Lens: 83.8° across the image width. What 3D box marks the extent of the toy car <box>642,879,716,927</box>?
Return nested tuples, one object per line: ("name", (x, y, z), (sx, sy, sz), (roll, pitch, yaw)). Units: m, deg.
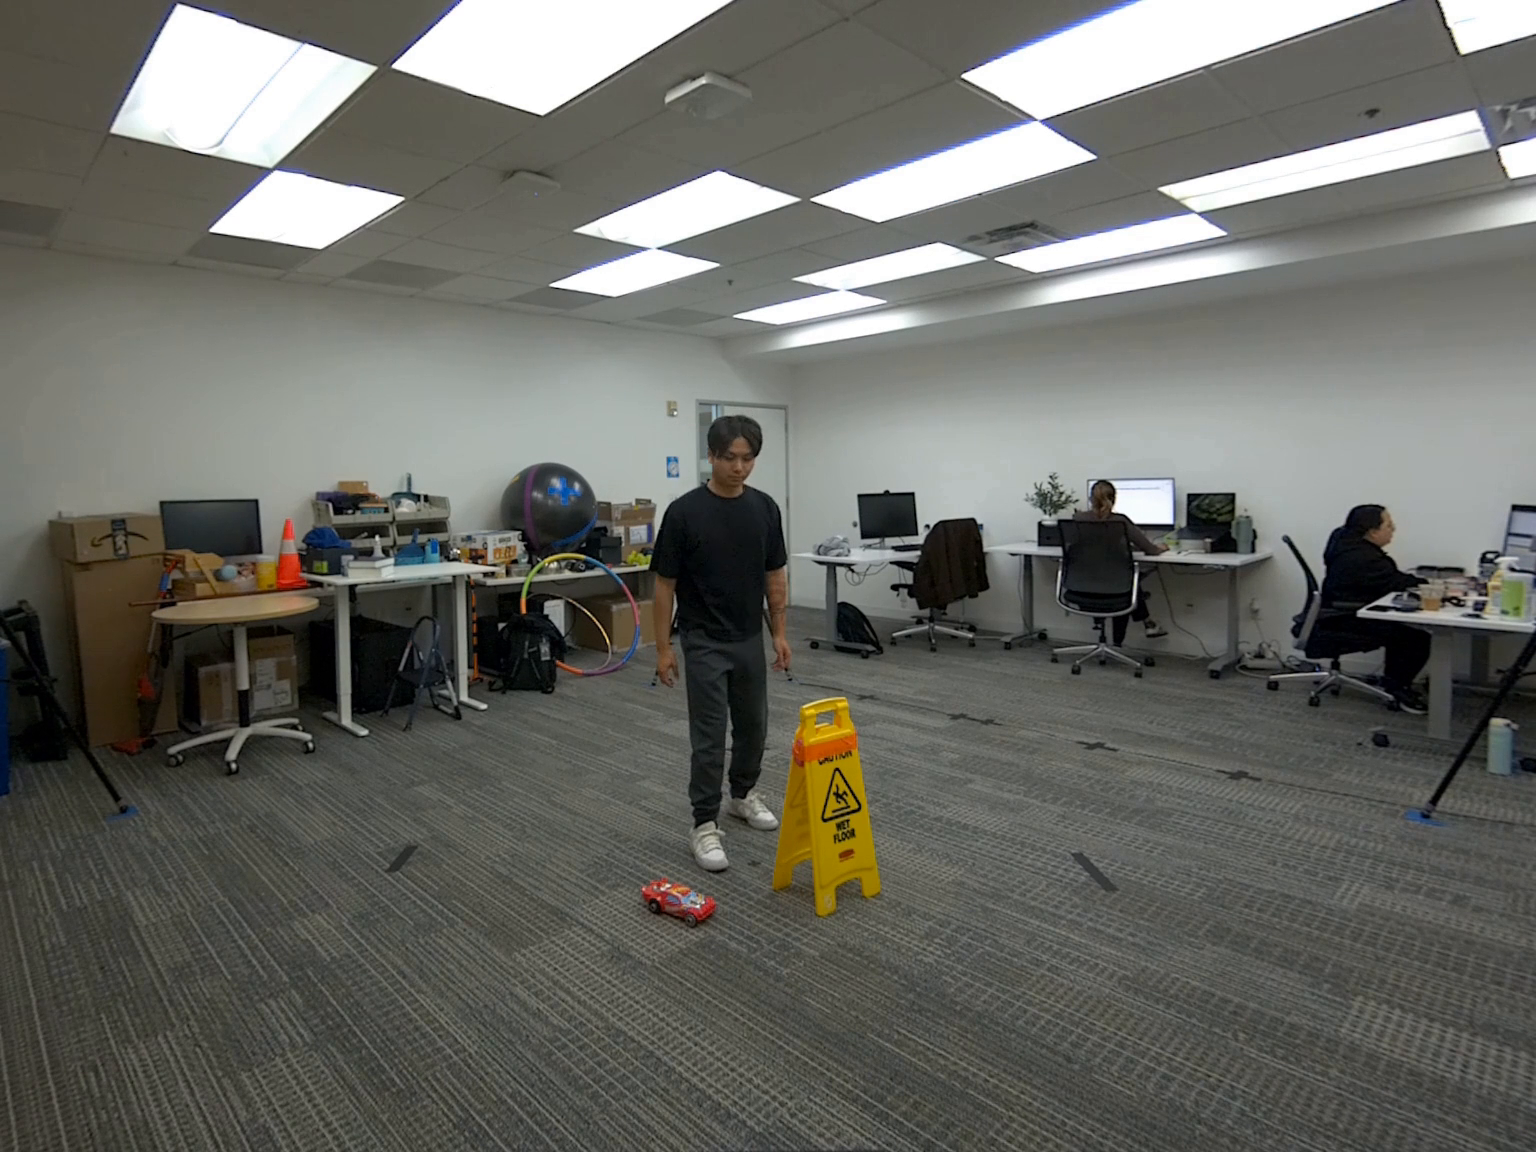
("toy car", (-0.291, 1.063, 2.766), (0.263, 0.082, 0.127), (15, 14, 32))
